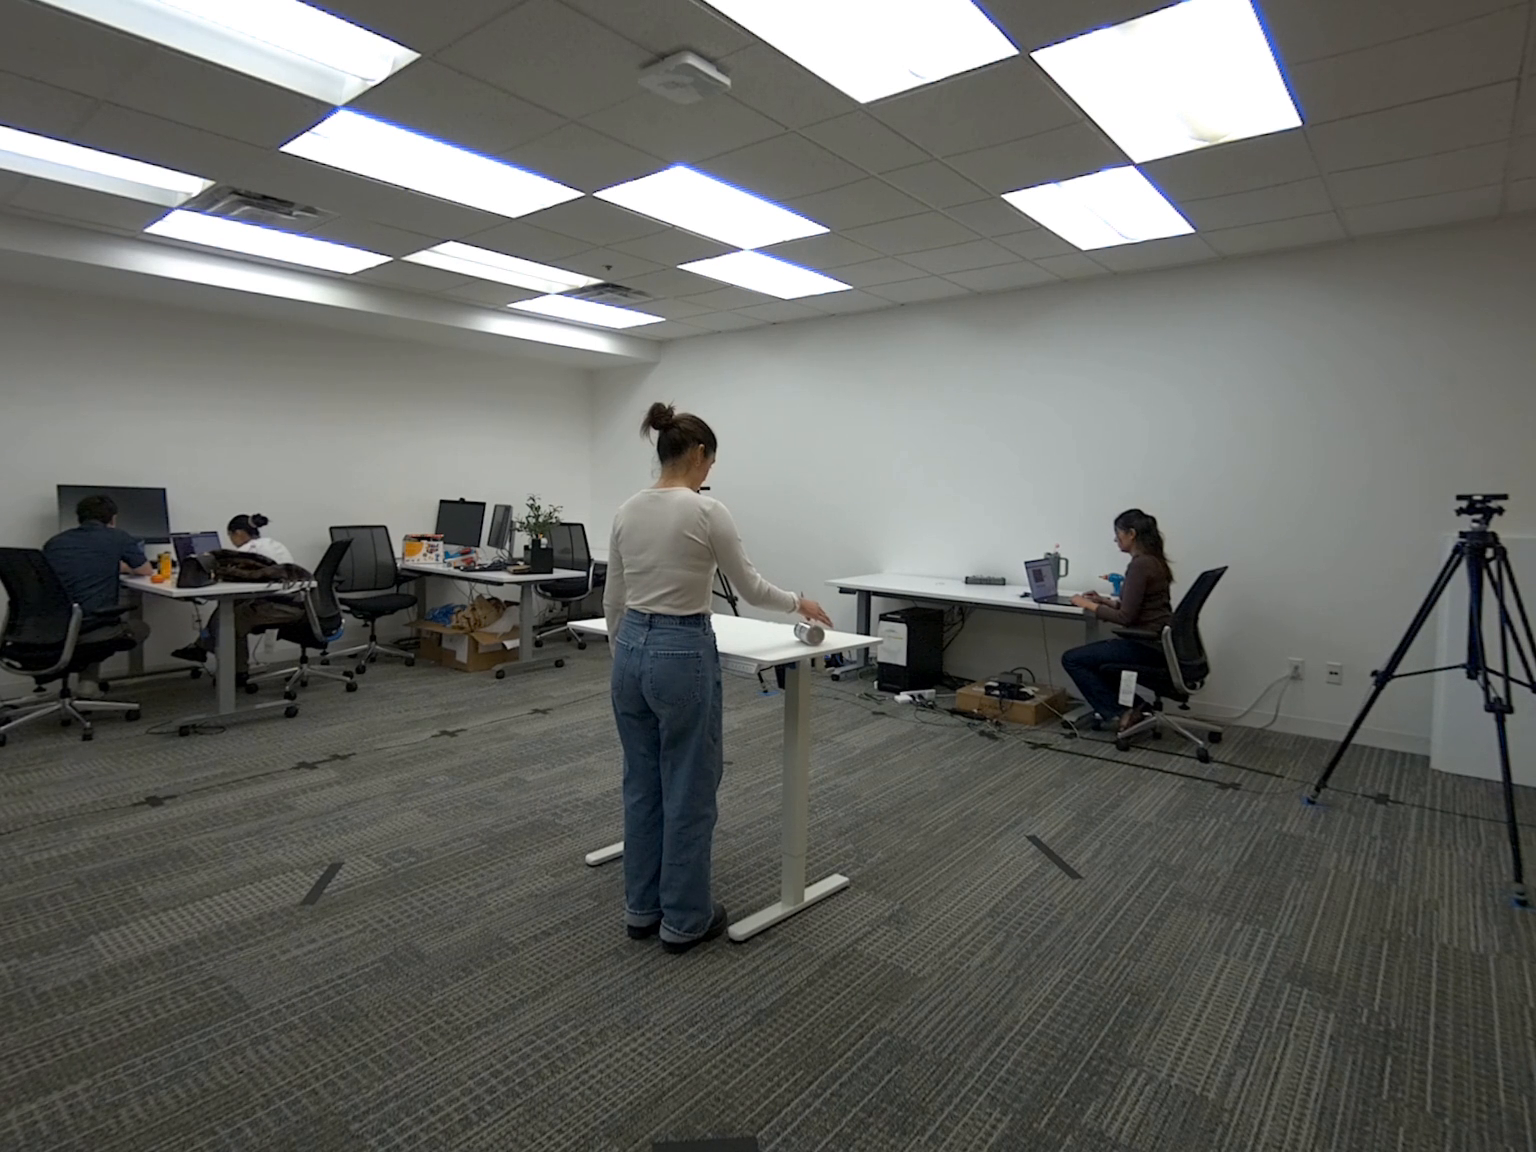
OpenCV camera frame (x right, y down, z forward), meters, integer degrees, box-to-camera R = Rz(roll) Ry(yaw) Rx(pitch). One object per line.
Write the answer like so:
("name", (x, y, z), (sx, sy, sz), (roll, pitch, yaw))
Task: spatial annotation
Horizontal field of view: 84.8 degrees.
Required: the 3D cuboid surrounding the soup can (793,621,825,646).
("soup can", (0.129, 0.183, 2.809), (0.121, 0.067, 0.068), (-1, 4, -7))
